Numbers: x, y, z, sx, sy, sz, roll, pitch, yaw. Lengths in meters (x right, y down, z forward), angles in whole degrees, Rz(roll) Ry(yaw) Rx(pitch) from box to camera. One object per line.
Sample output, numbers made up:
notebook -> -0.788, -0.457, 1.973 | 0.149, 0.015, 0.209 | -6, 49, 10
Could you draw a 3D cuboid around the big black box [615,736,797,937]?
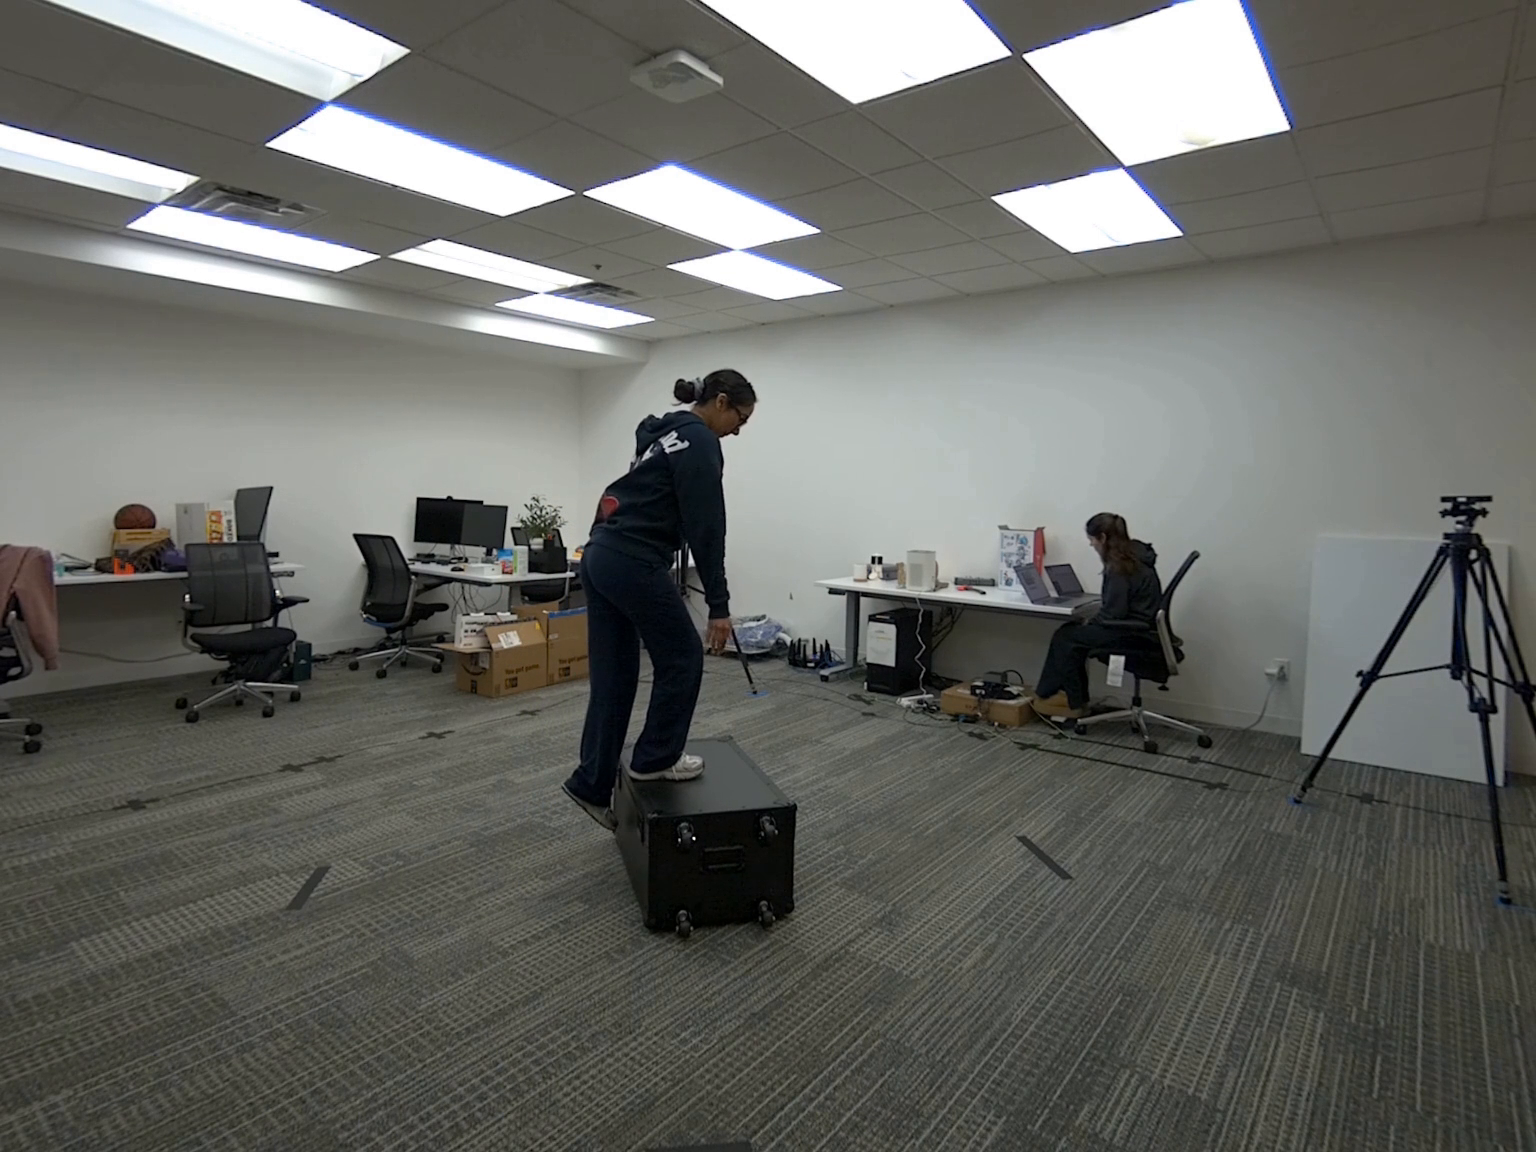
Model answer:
big black box -> -0.261, 0.885, 3.017 | 0.512, 0.395, 0.880 | -1, 5, -18
